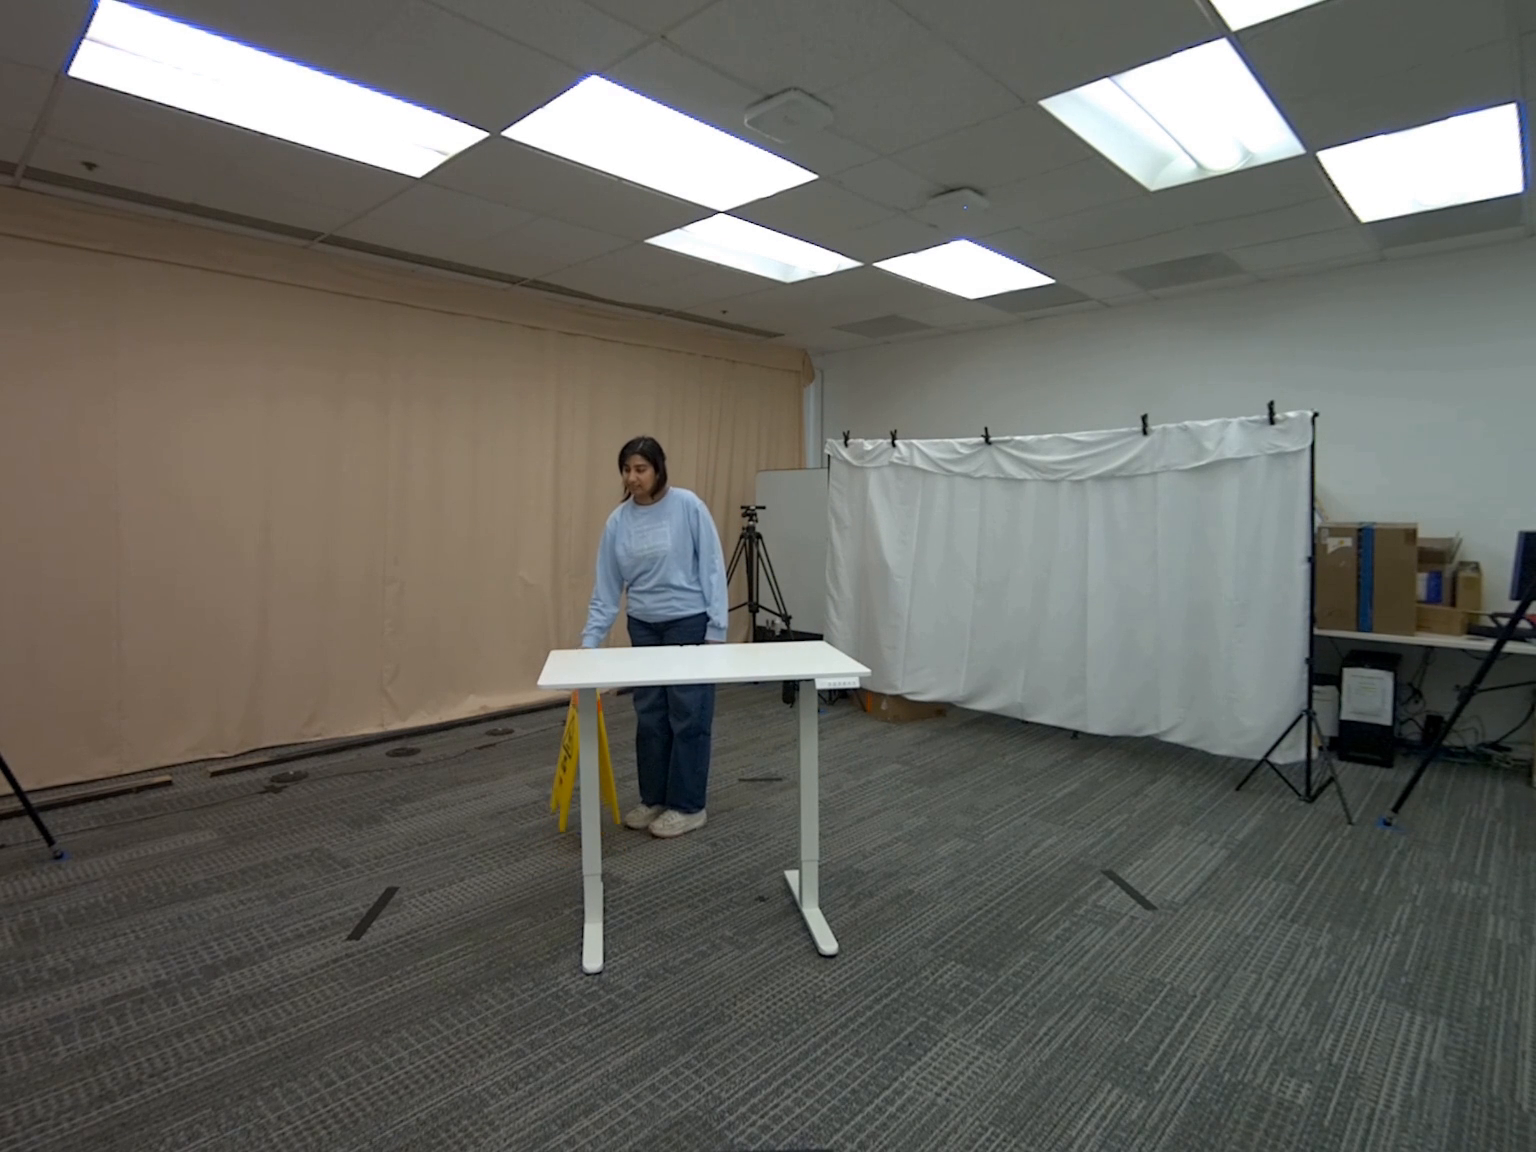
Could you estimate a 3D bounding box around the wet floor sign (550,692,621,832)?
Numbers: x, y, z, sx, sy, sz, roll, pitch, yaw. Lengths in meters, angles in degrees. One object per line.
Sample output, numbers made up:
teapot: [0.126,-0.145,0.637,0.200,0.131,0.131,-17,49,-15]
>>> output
wet floor sign: [-0.765,0.688,3.512,0.284,0.644,0.289,-1,6,-21]
